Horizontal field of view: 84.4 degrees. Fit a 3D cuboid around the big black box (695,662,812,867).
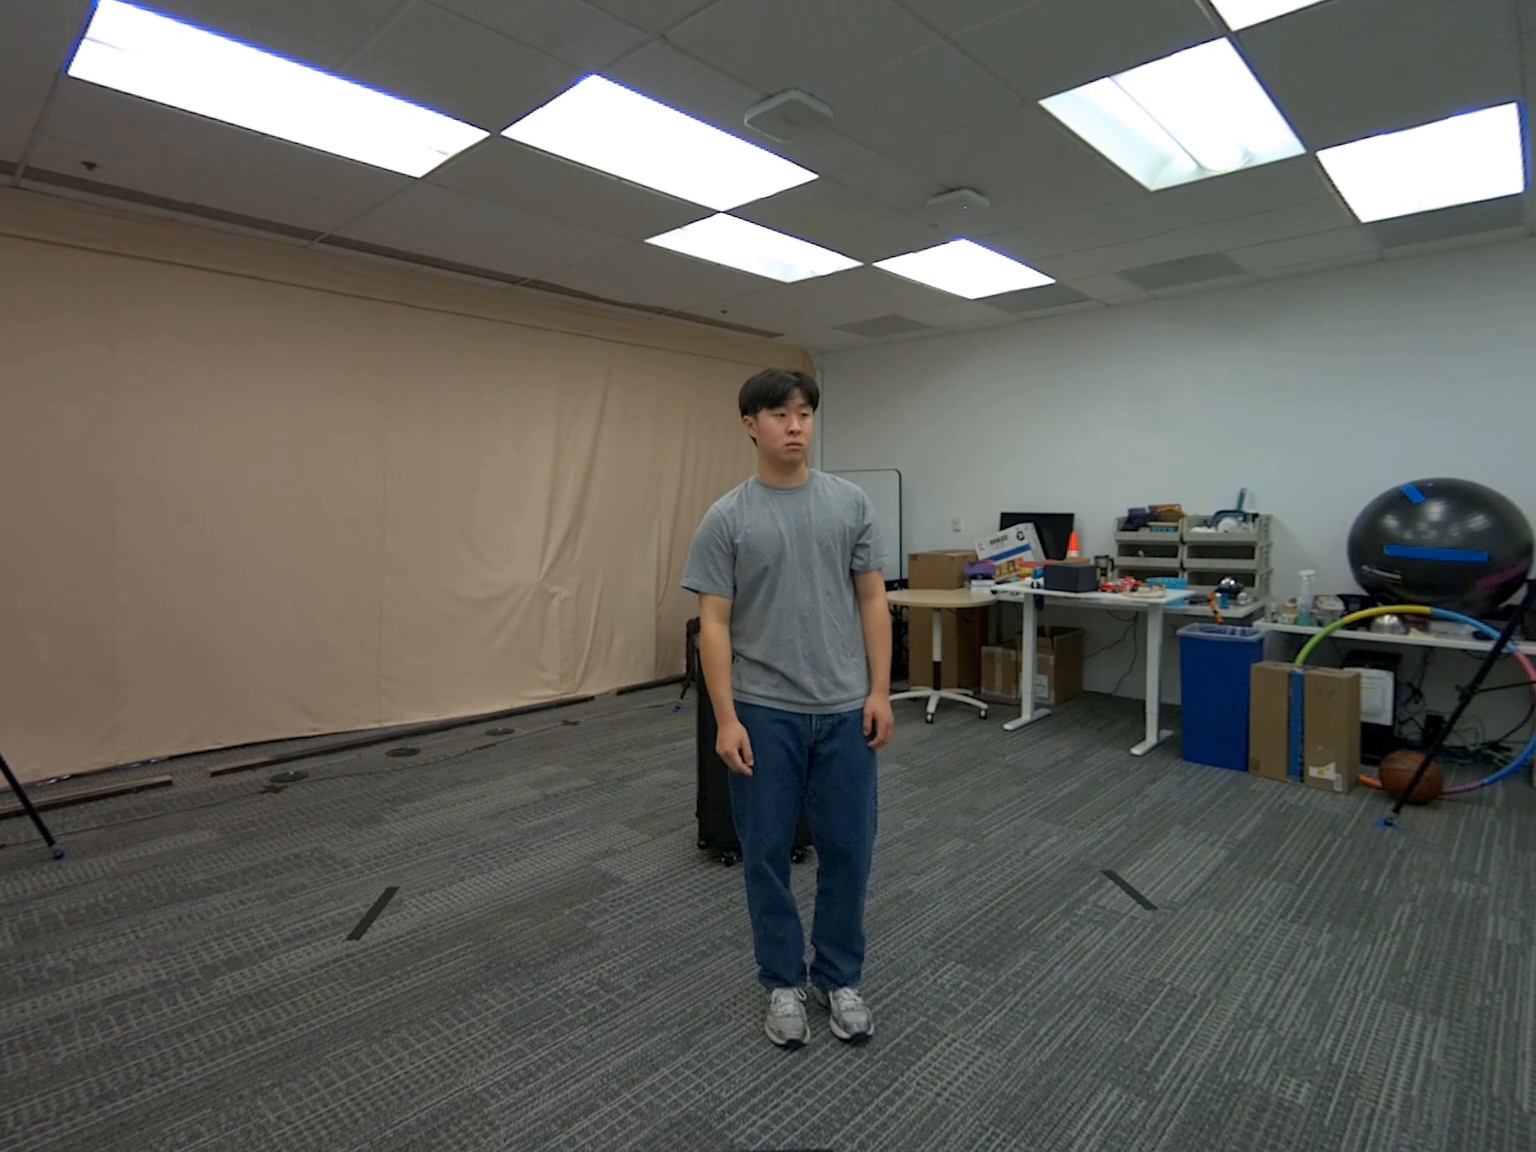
[{"bbox_3d":[-0.044,0.632,3.425,0.519,0.860,0.398,0,2,-4],"label":"big black box"}]
